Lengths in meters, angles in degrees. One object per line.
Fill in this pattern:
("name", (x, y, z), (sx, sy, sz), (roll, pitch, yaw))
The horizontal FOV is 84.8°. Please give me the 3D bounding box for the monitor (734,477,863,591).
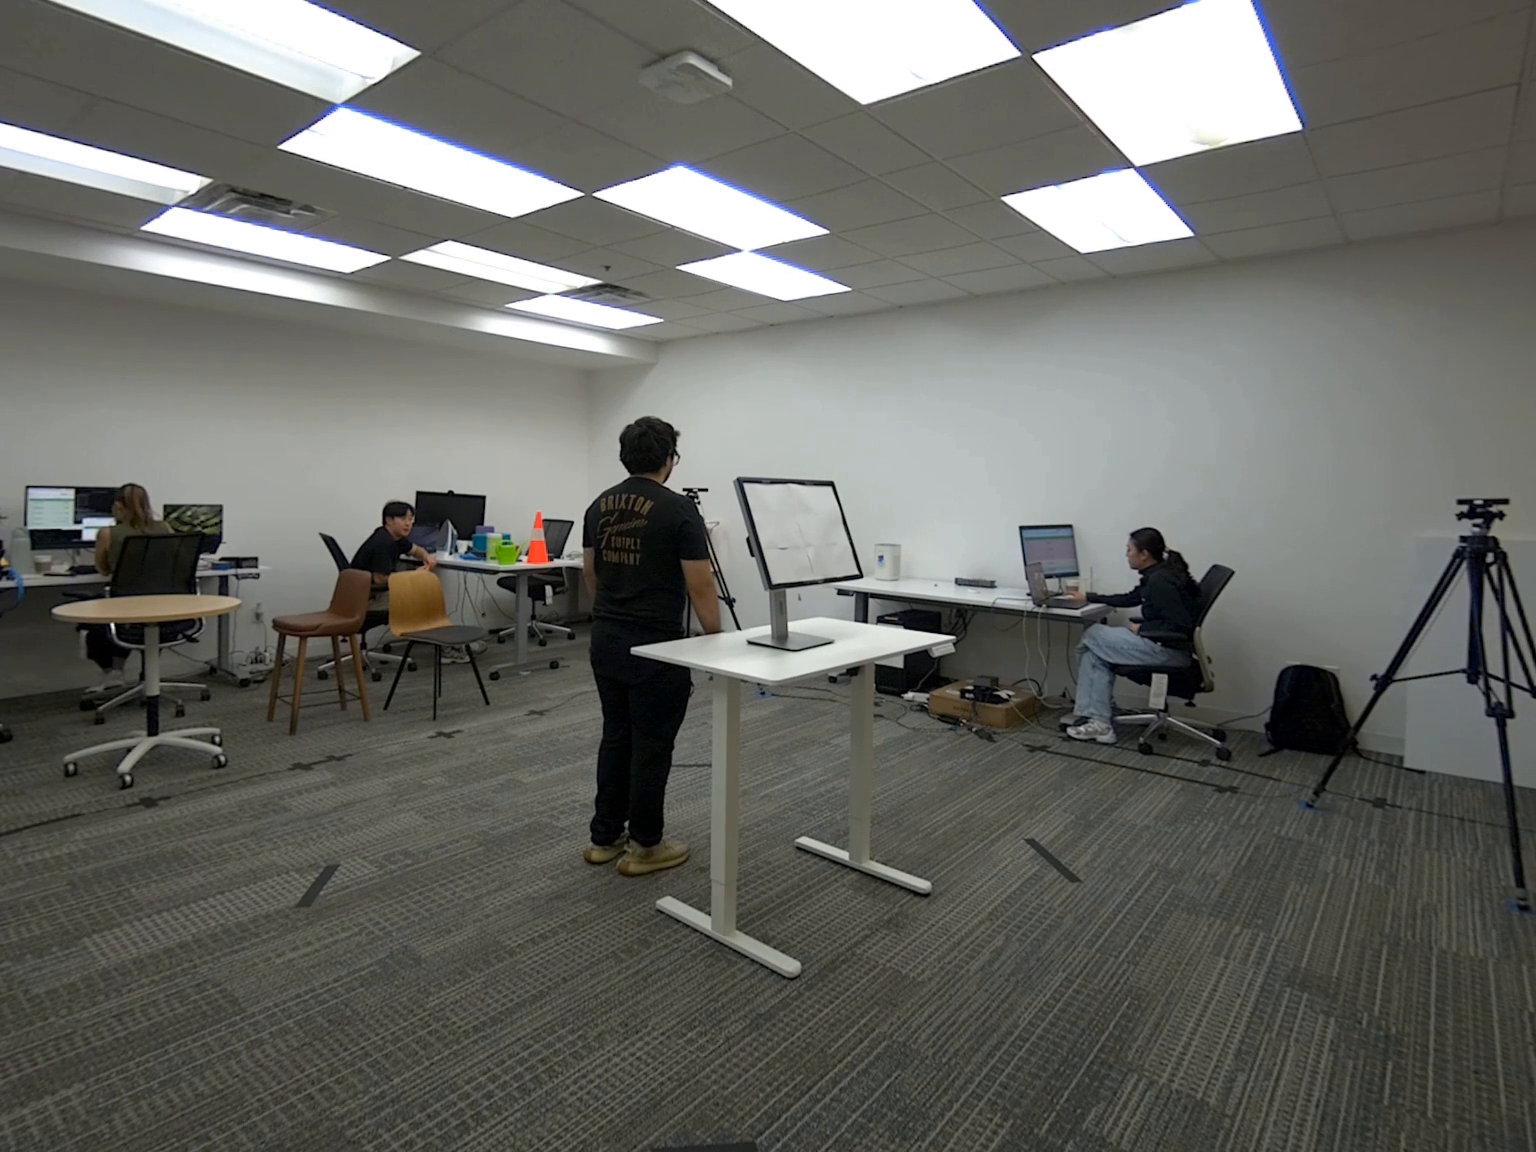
("monitor", (0.055, -0.049, 2.831), (0.215, 0.556, 0.549), (-10, -3, 36))
